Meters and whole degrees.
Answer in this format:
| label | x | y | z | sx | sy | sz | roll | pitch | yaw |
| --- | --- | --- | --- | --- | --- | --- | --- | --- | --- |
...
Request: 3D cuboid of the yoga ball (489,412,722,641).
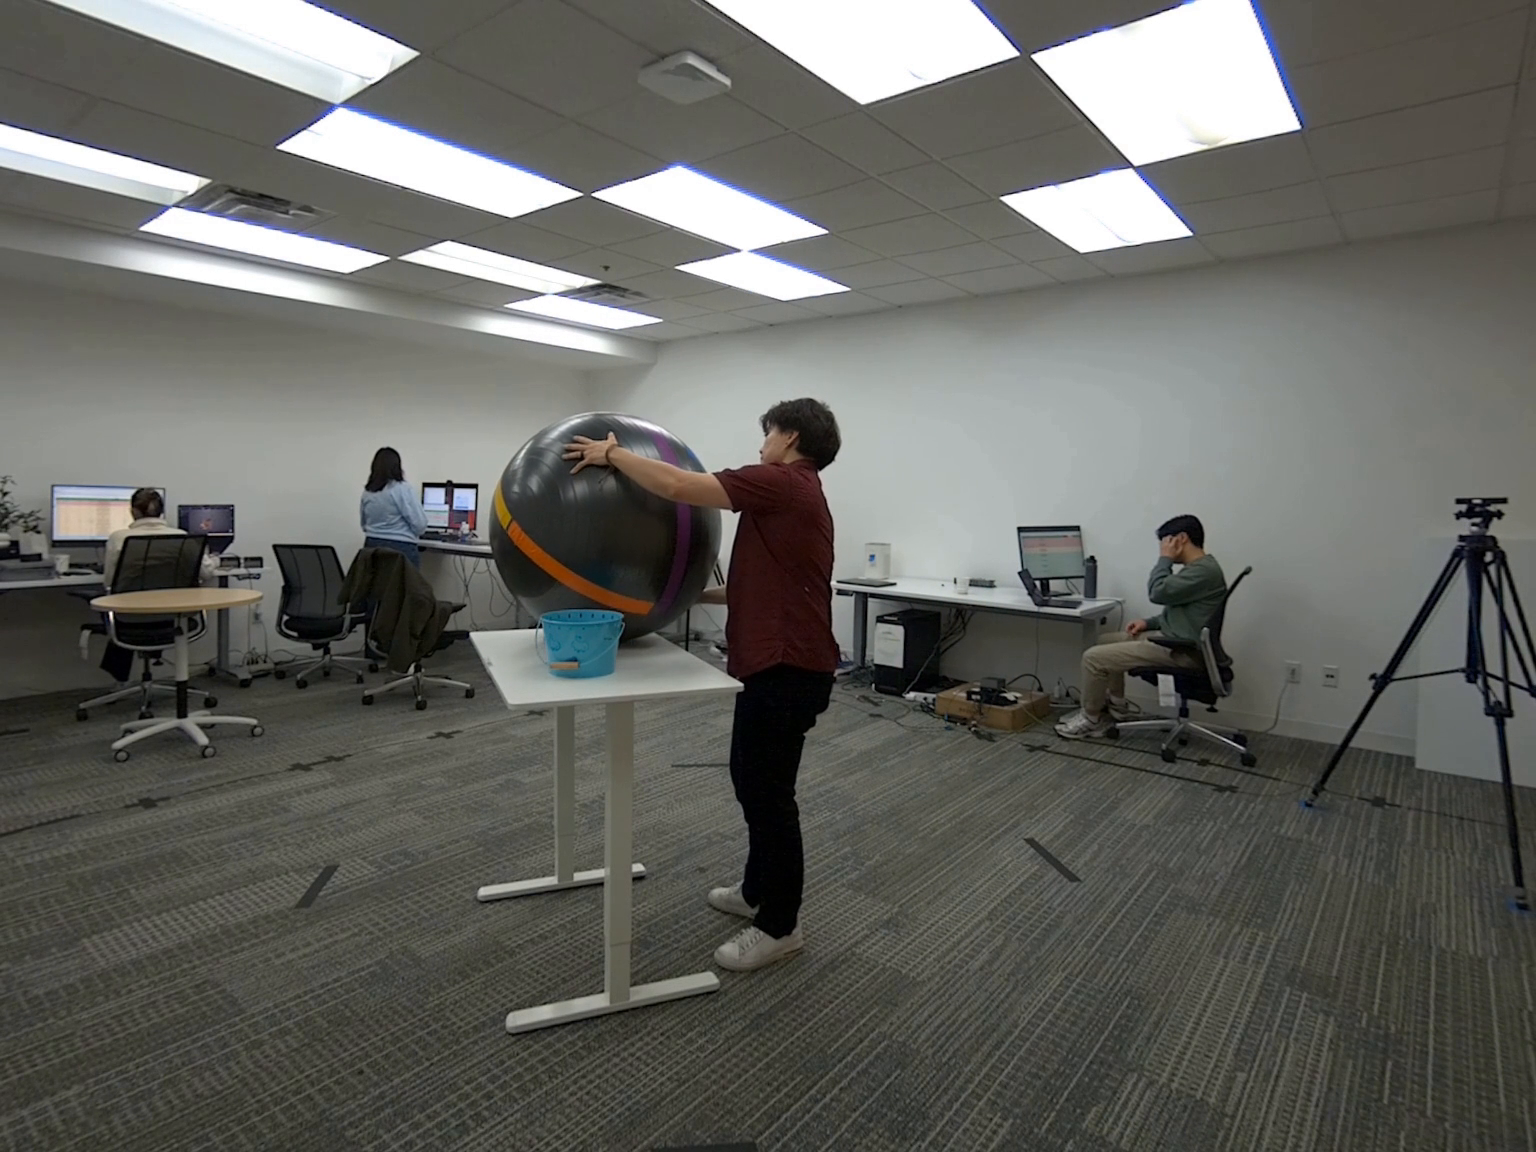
| label | x | y | z | sx | sy | sz | roll | pitch | yaw |
| --- | --- | --- | --- | --- | --- | --- | --- | --- | --- |
| yoga ball | -0.546 | -0.156 | 2.806 | 0.757 | 0.756 | 0.762 | 1 | 4 | -2 |
